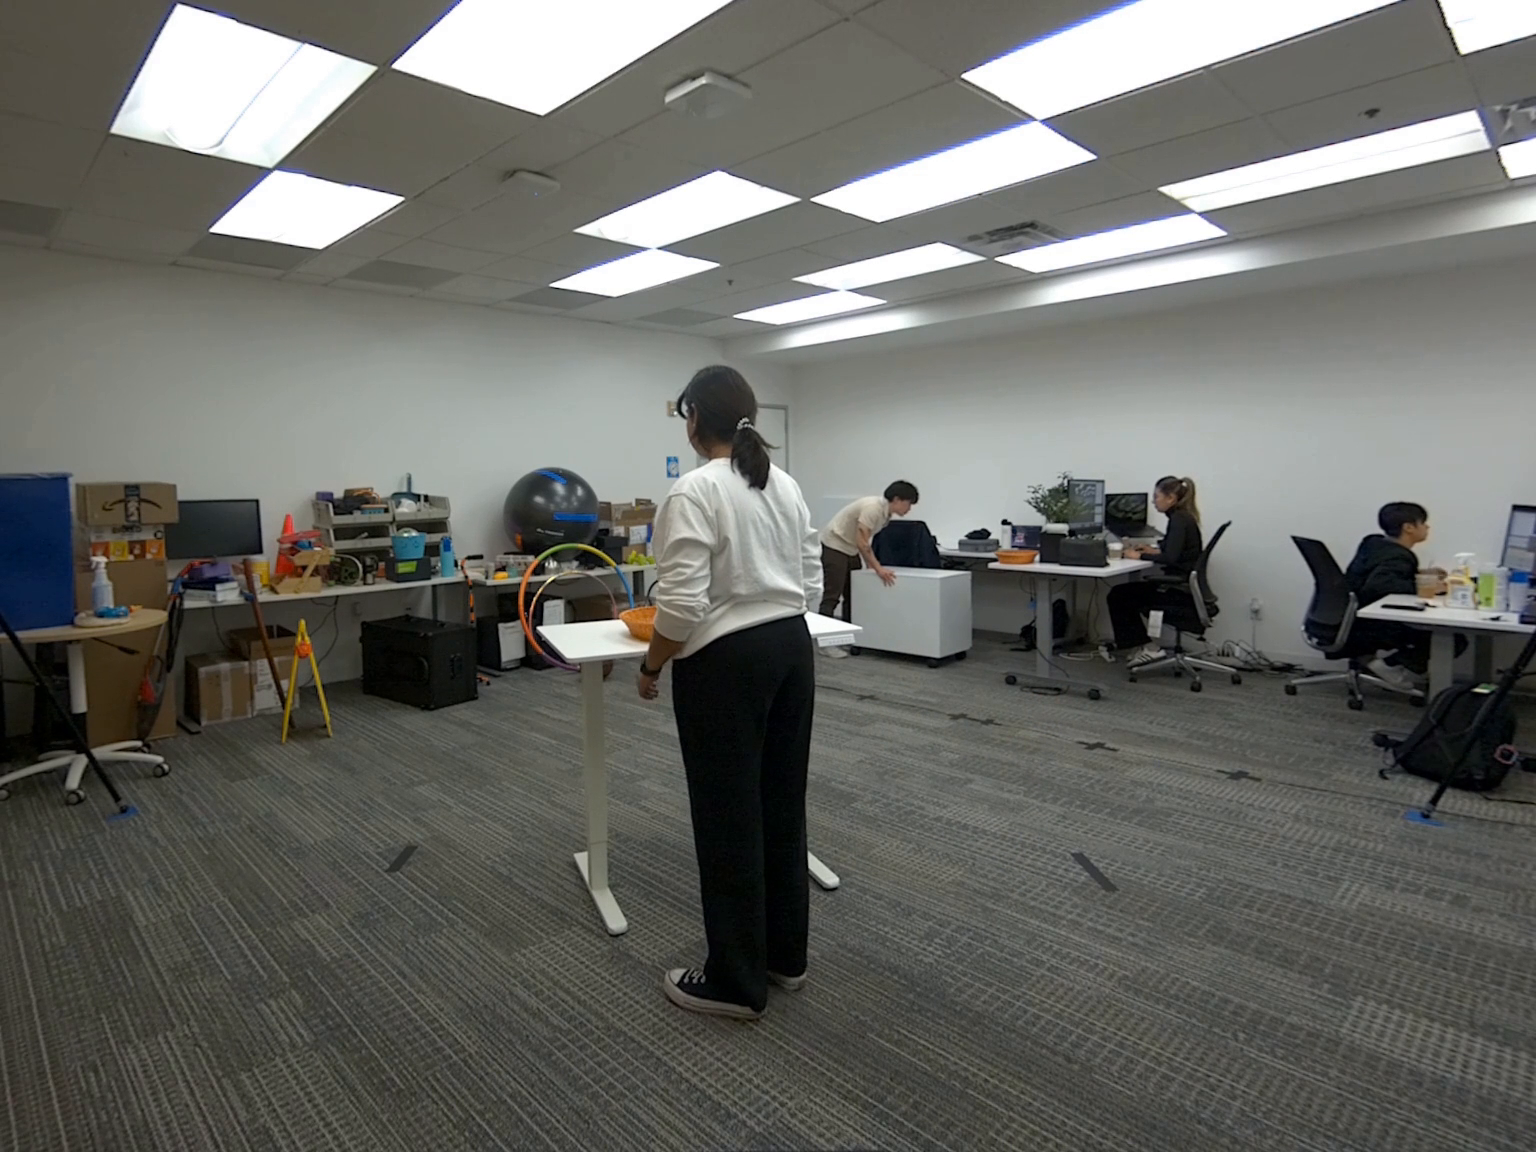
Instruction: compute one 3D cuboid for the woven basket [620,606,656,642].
[{"bbox_3d":[-0.338,0.166,2.837,0.246,0.073,0.360,-5,7,-33],"label":"woven basket"}]
